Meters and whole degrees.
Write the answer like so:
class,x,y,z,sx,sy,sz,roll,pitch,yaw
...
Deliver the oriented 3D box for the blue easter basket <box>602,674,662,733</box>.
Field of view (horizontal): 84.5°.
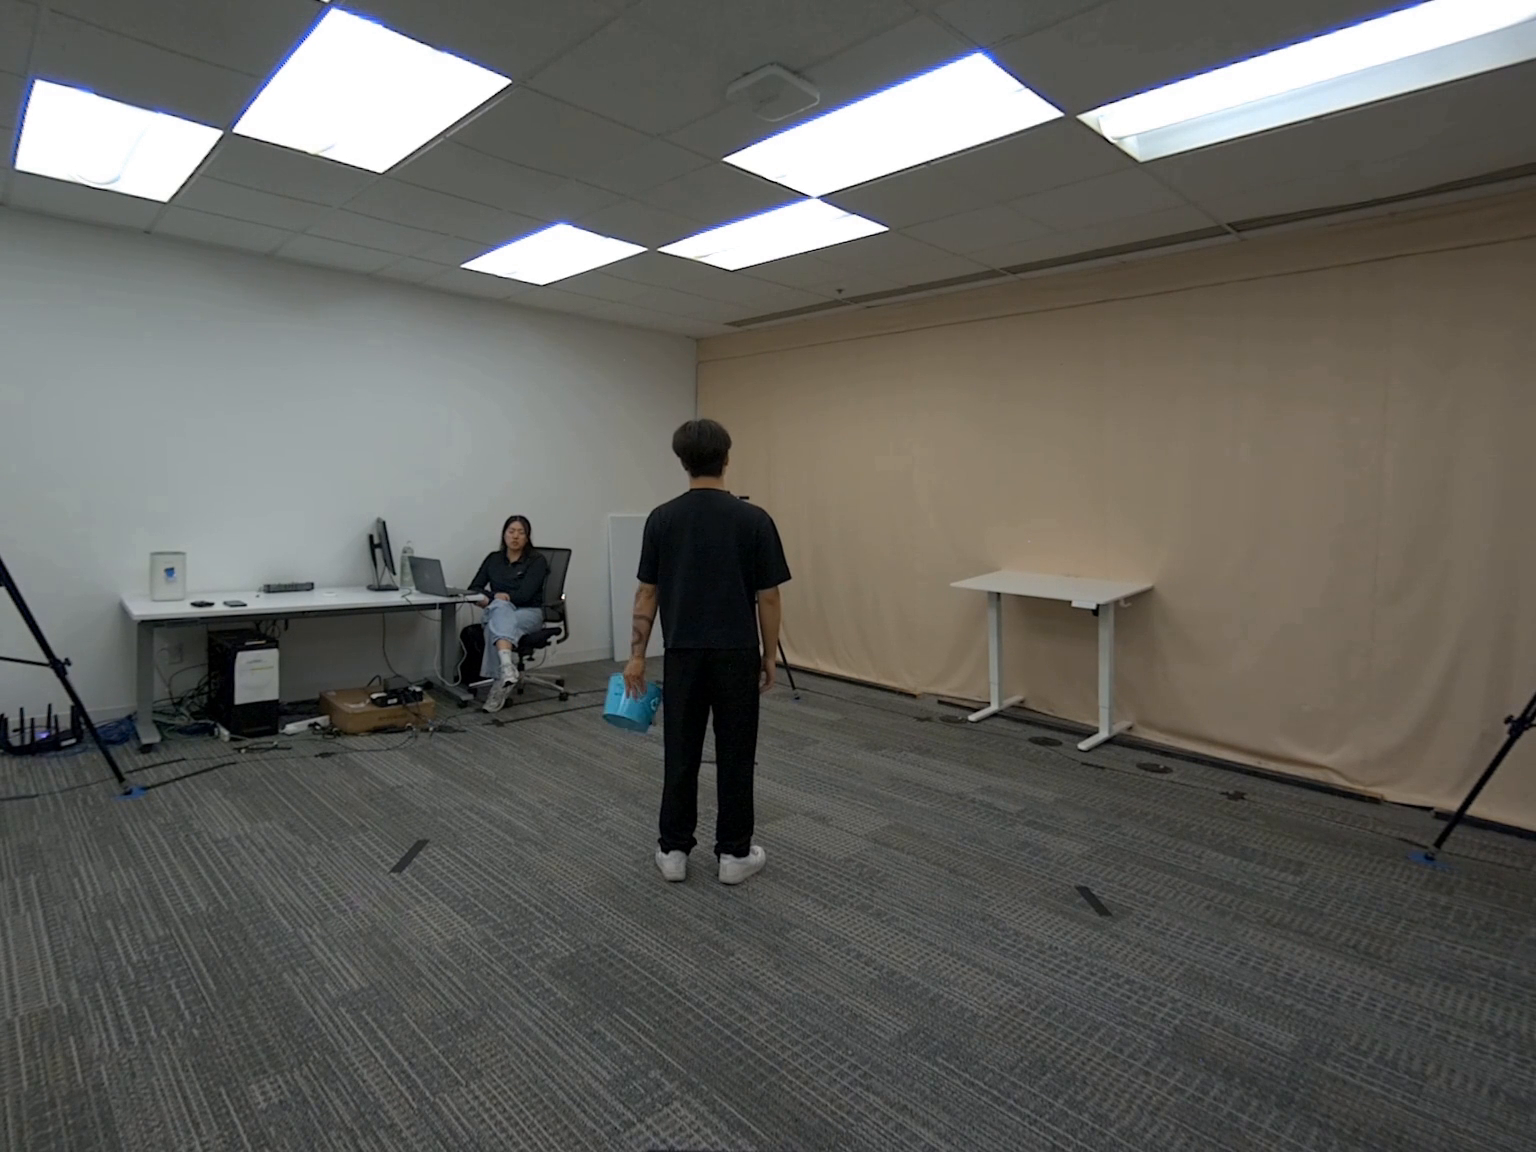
class,x,y,z,sx,sy,sz,roll,pitch,yaw
blue easter basket,-0.519,0.480,3.223,0.245,0.157,0.239,15,-26,6
